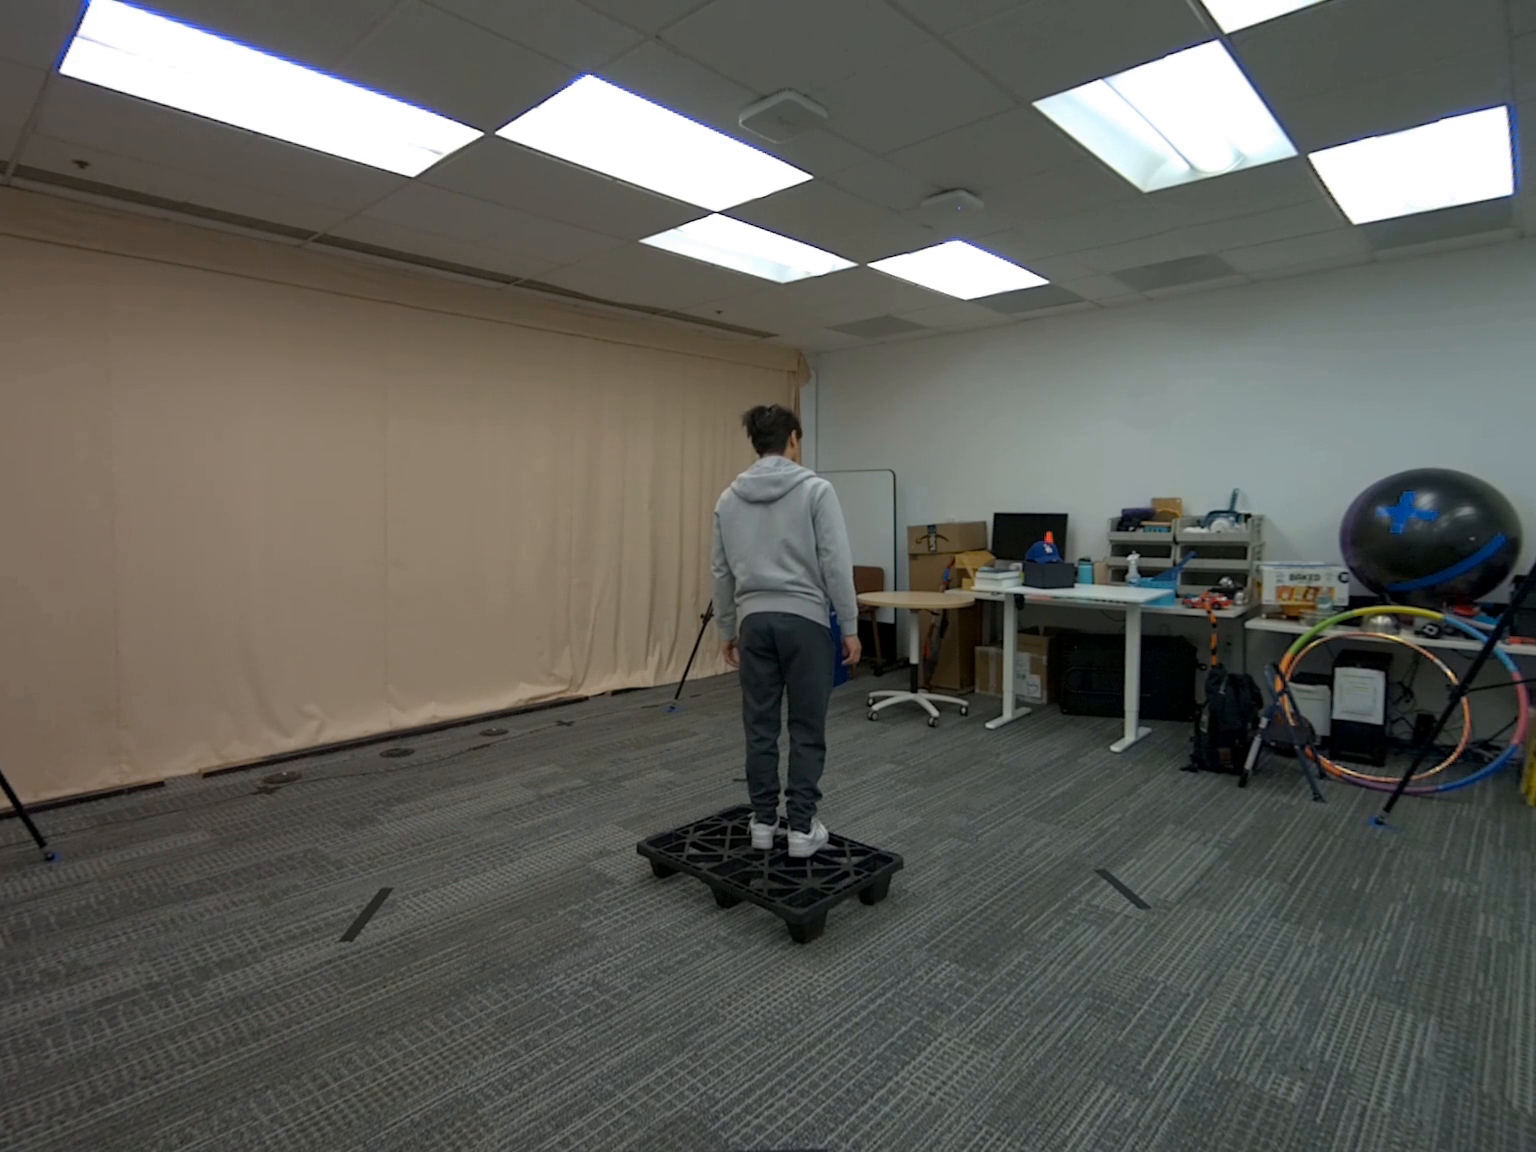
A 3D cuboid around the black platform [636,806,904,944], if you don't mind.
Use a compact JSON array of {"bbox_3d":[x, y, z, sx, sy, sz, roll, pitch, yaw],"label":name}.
[{"bbox_3d":[-0.001,1.069,3.081,0.832,0.143,0.587,4,7,44],"label":"black platform"}]
